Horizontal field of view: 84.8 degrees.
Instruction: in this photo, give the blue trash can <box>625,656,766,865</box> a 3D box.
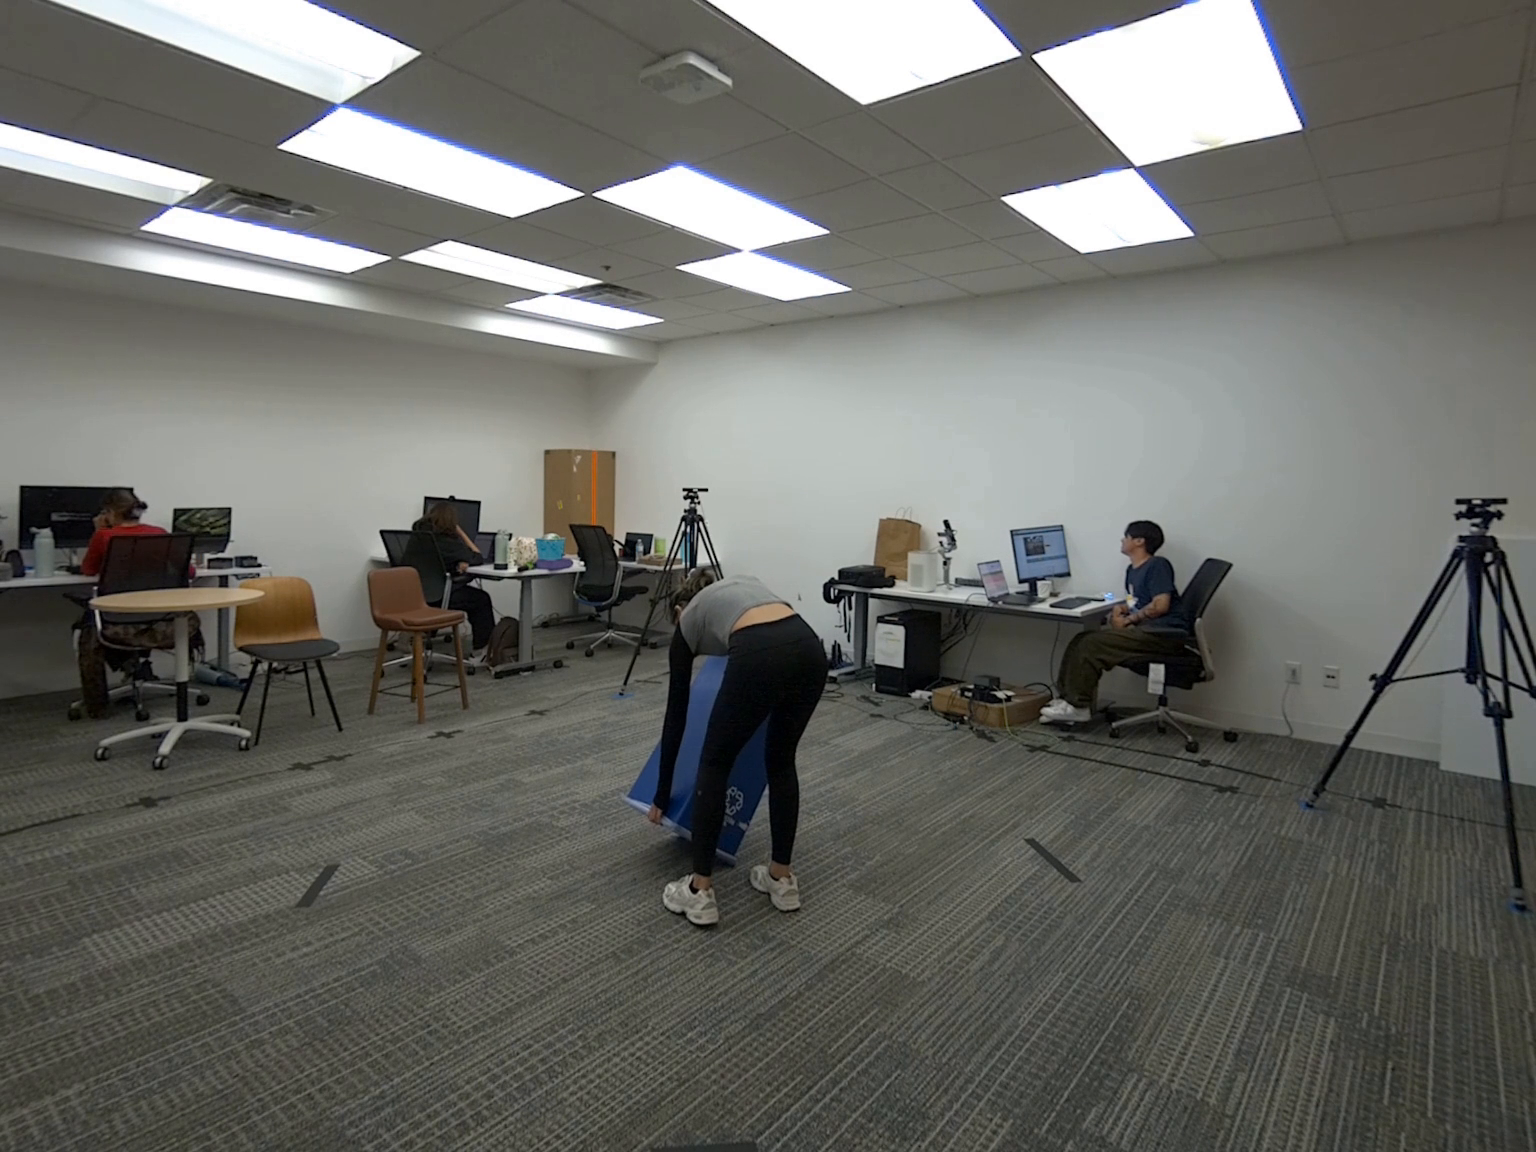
[{"bbox_3d":[-0.199,0.659,3.298,0.391,0.718,0.359,5,-28,49],"label":"blue trash can"}]
